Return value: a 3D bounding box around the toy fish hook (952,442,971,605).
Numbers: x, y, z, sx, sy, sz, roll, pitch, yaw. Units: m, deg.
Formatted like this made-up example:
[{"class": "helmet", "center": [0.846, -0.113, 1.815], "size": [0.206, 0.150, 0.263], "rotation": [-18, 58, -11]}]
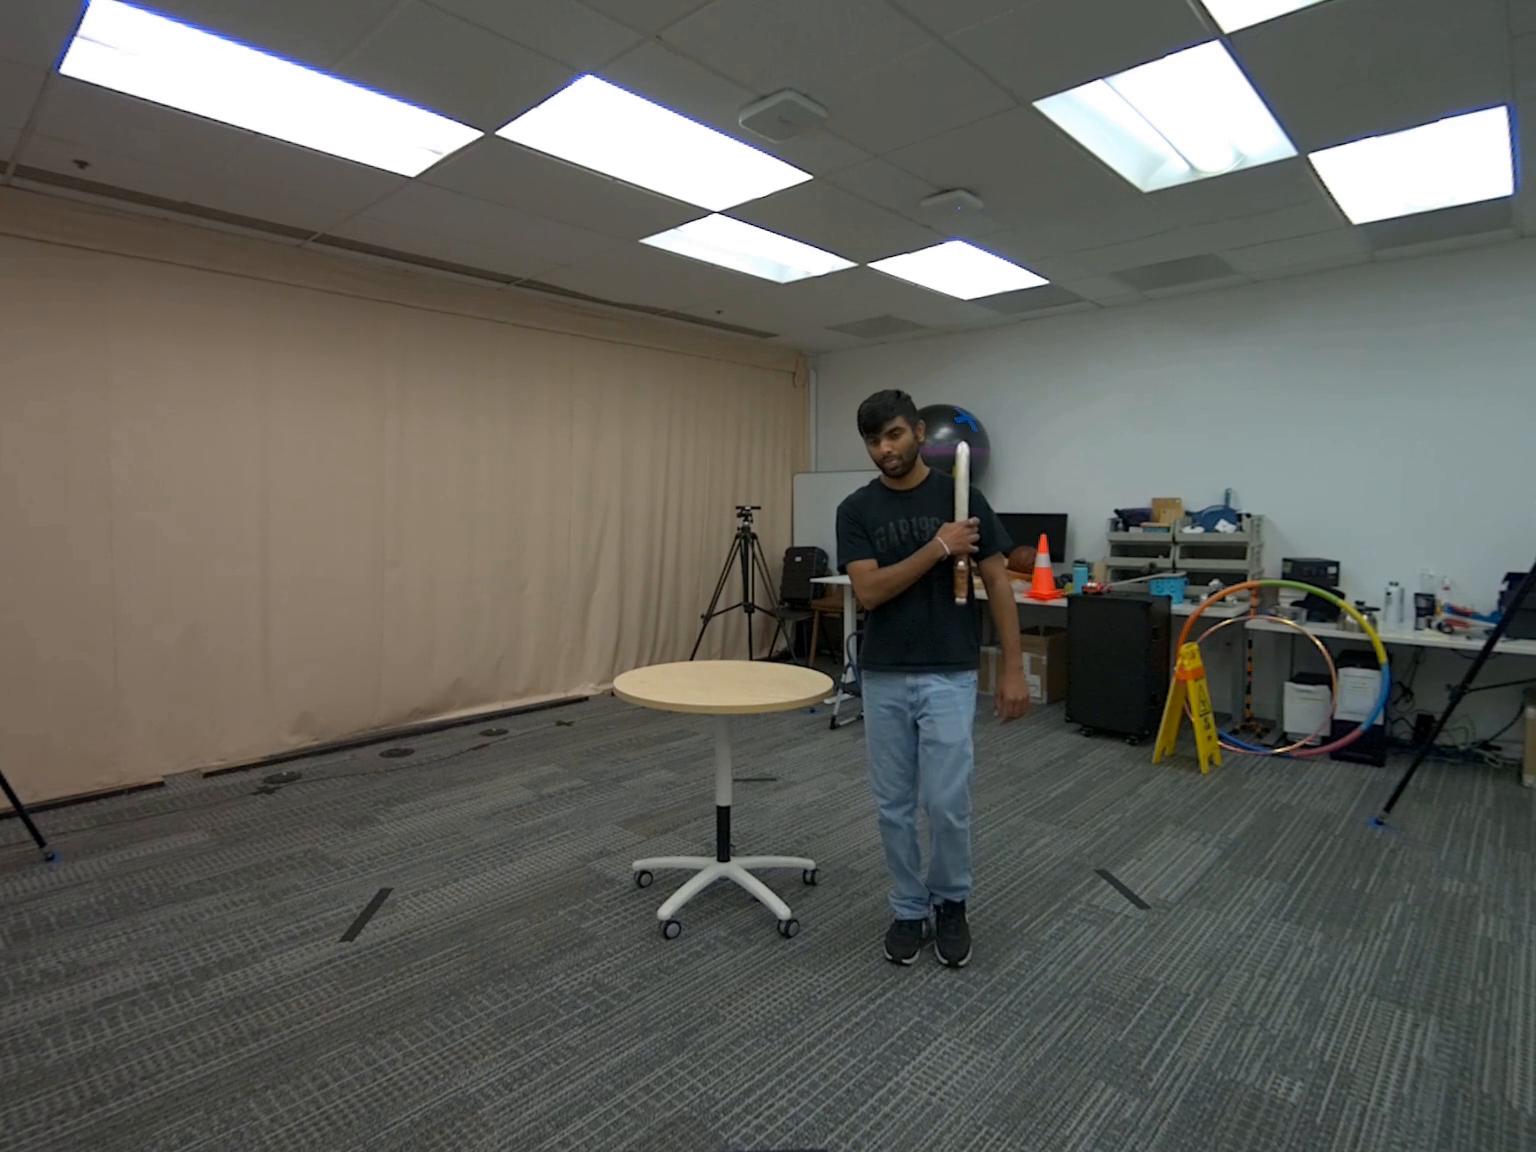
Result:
[{"class": "toy fish hook", "center": [0.606, -0.151, 2.544], "size": [0.049, 0.509, 0.218], "rotation": [0, -12, 23]}]
